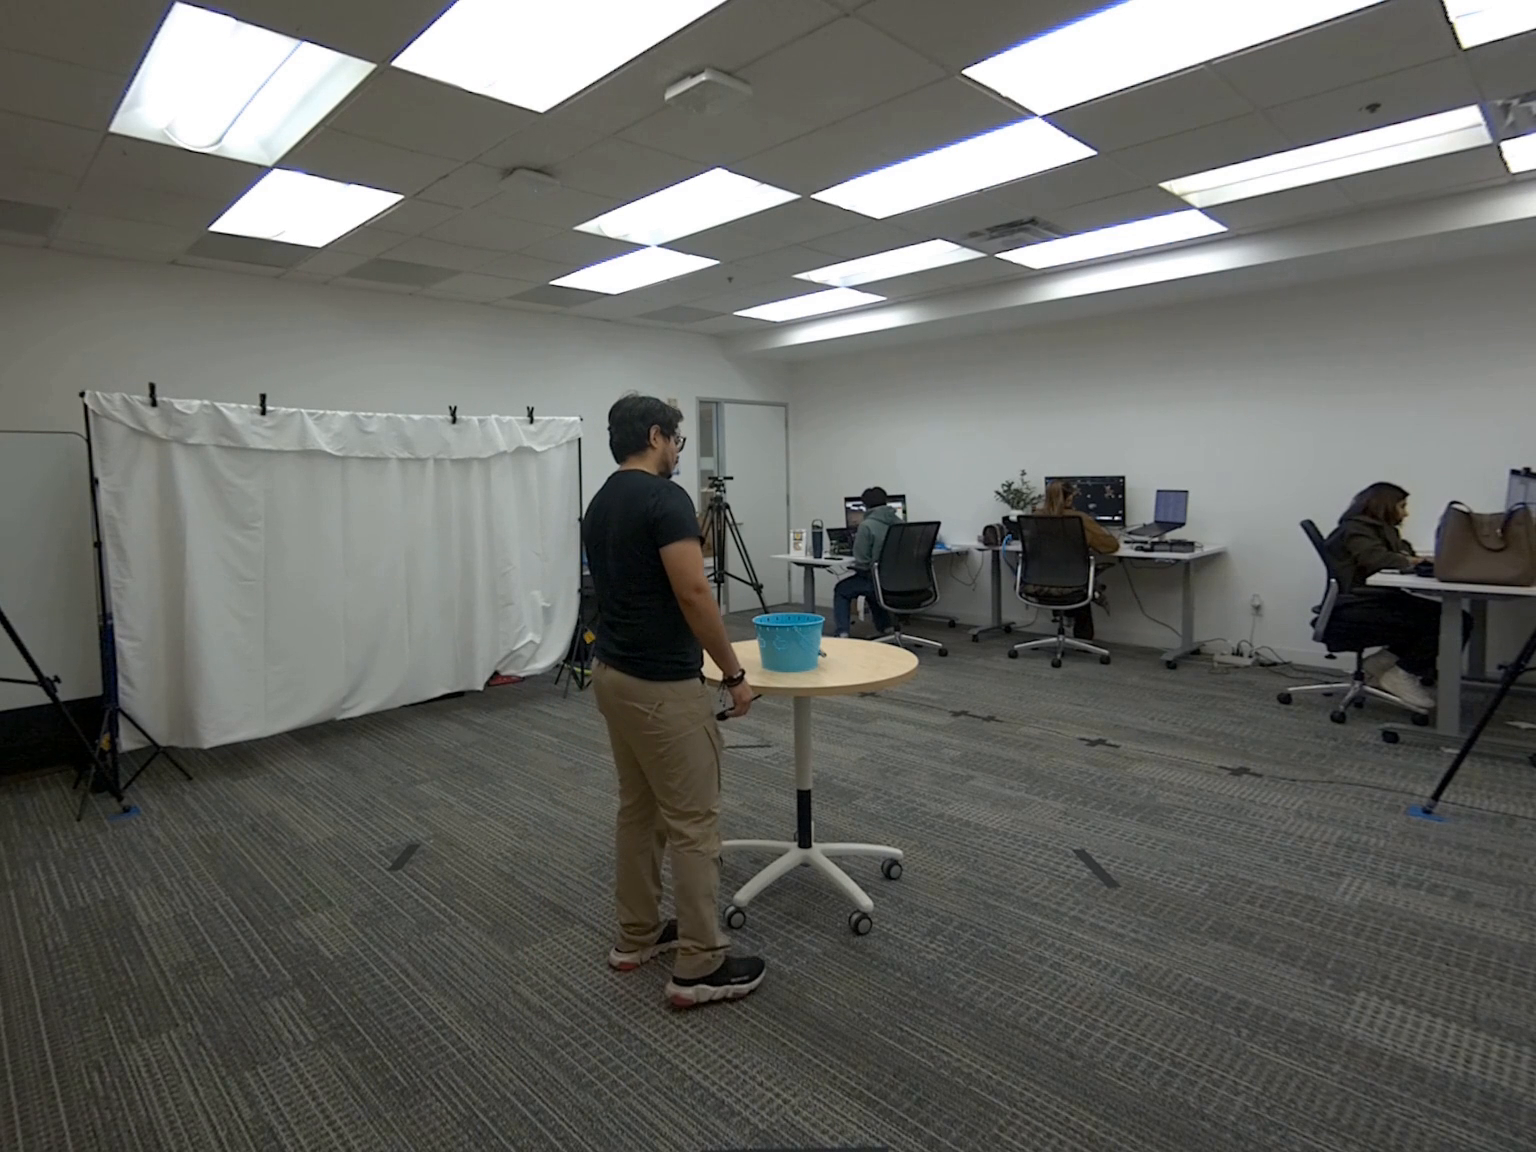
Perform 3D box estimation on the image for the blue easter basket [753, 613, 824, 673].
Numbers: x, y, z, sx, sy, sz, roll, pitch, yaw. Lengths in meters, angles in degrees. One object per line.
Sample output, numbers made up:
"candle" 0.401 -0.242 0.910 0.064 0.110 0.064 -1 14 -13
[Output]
"blue easter basket" 0.076 0.216 2.761 0.243 0.155 0.245 -2 6 -2
